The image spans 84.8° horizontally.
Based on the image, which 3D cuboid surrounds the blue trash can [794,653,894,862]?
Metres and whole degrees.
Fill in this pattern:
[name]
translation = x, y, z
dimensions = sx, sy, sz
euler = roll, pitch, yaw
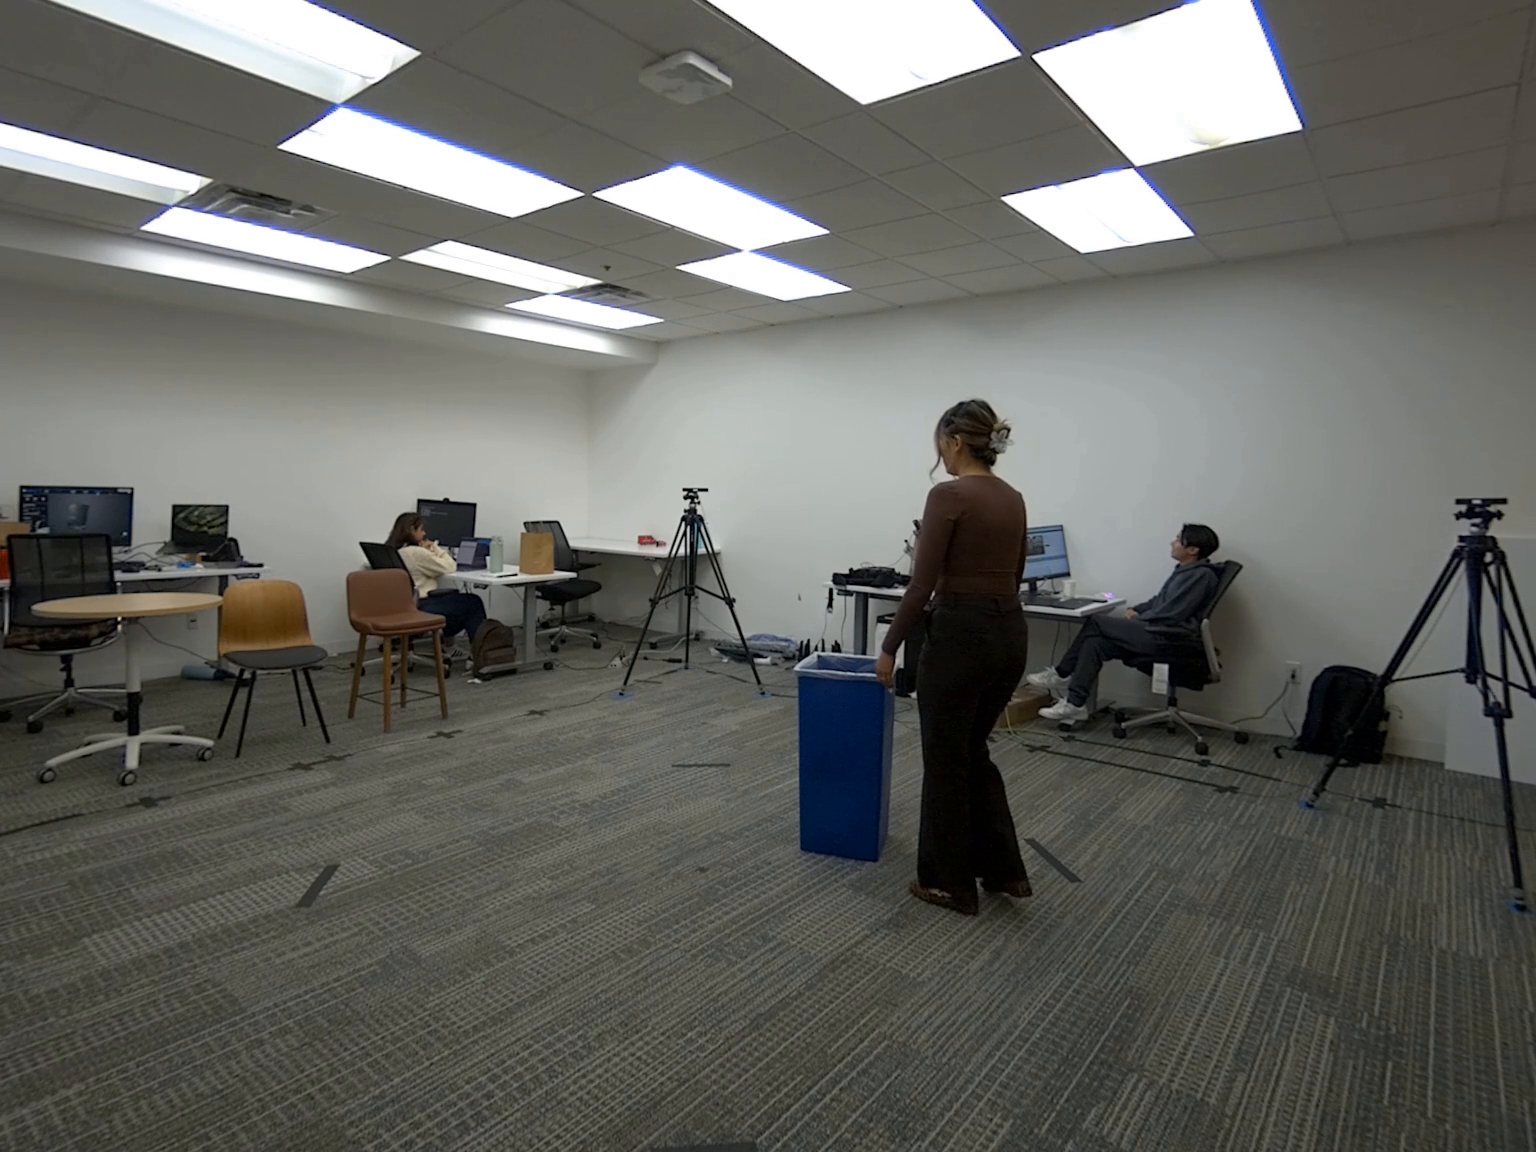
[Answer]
[blue trash can]
translation = 0.297, 0.696, 3.370
dimensions = 0.382, 0.712, 0.372
euler = 2, 3, 18
